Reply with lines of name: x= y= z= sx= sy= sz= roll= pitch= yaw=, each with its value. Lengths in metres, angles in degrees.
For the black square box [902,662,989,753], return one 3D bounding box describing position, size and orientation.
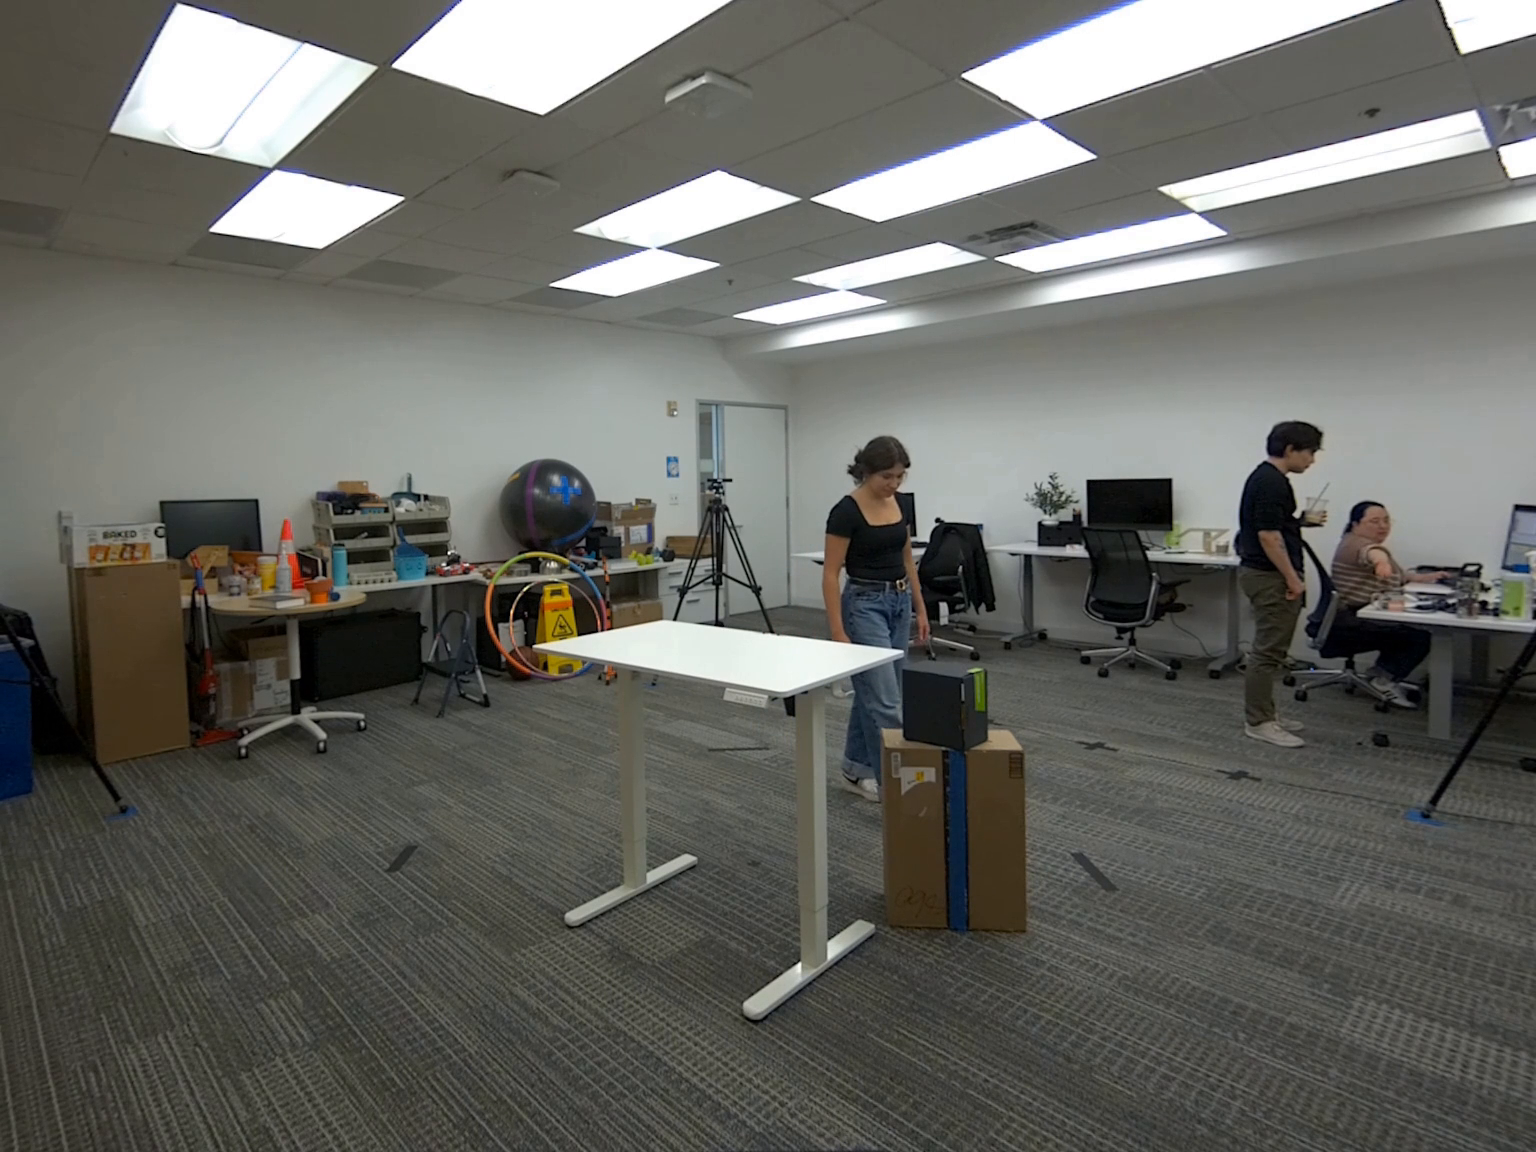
black square box: x=0.549 y=0.403 z=2.689 sx=0.223 sy=0.227 sz=0.152 roll=3 pitch=6 yaw=44
